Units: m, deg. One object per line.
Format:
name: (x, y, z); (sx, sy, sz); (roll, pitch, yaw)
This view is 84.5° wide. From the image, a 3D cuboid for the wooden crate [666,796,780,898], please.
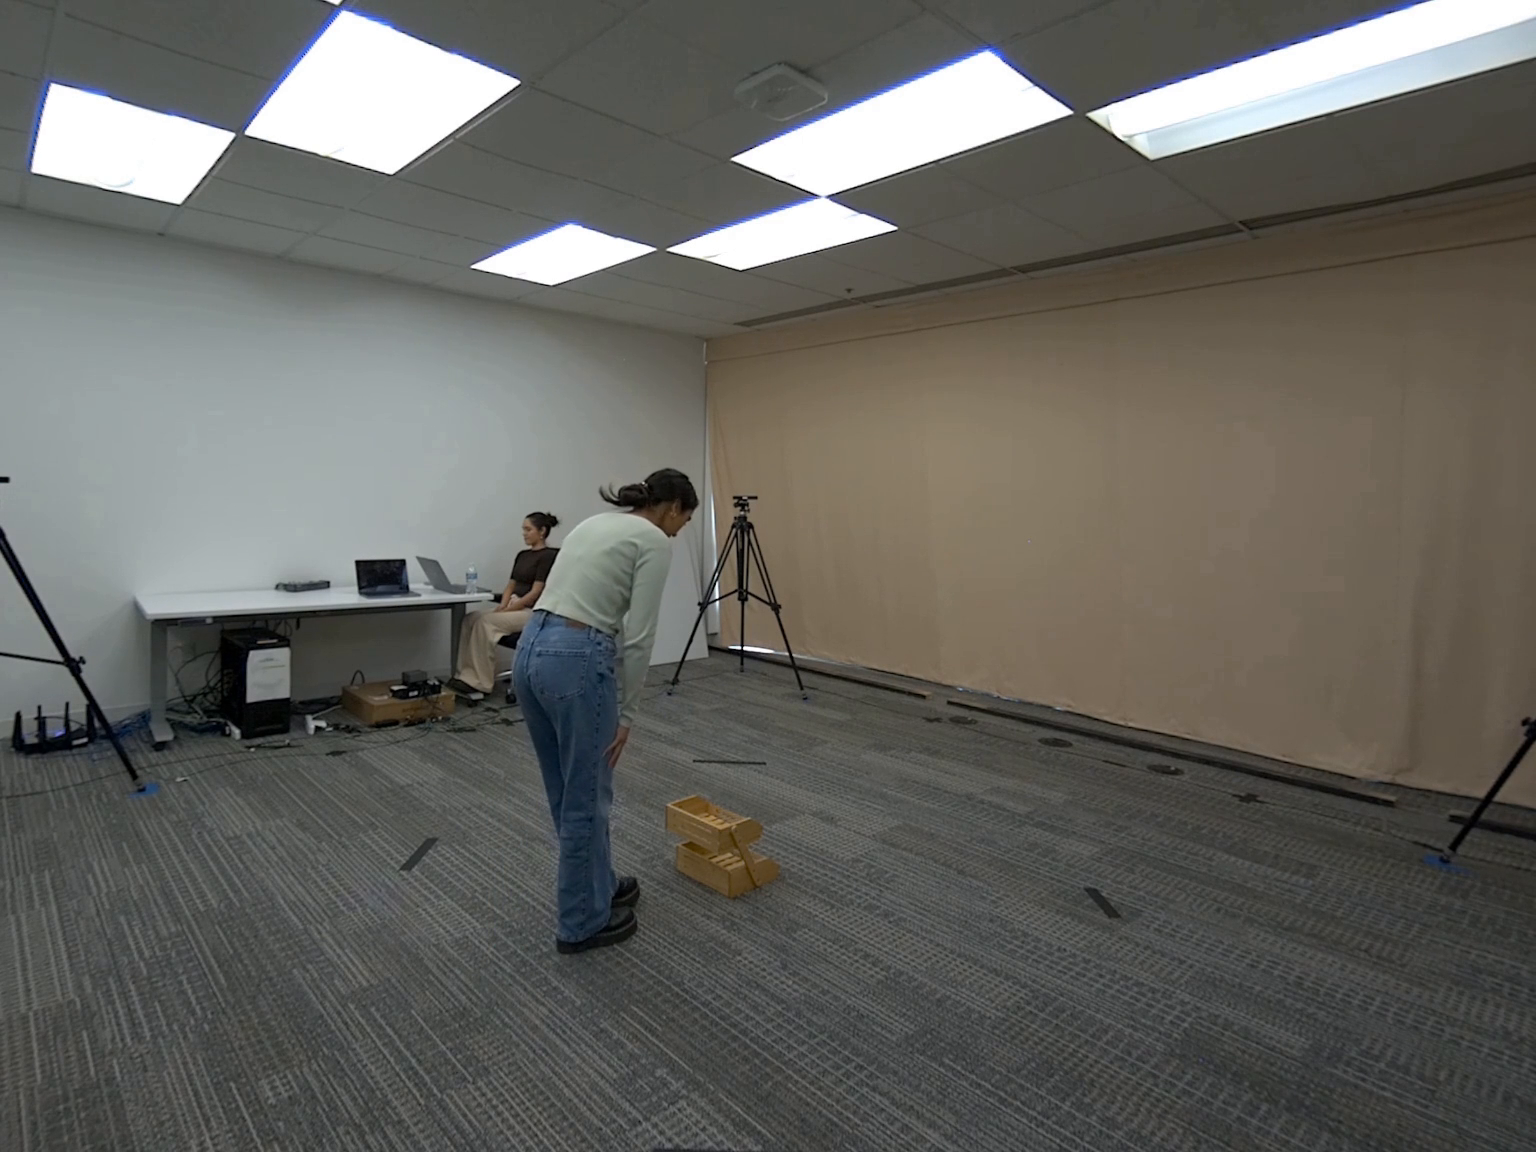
wooden crate: (-0.172, 0.970, 3.088); (0.295, 0.272, 0.333); (-4, 7, -44)
